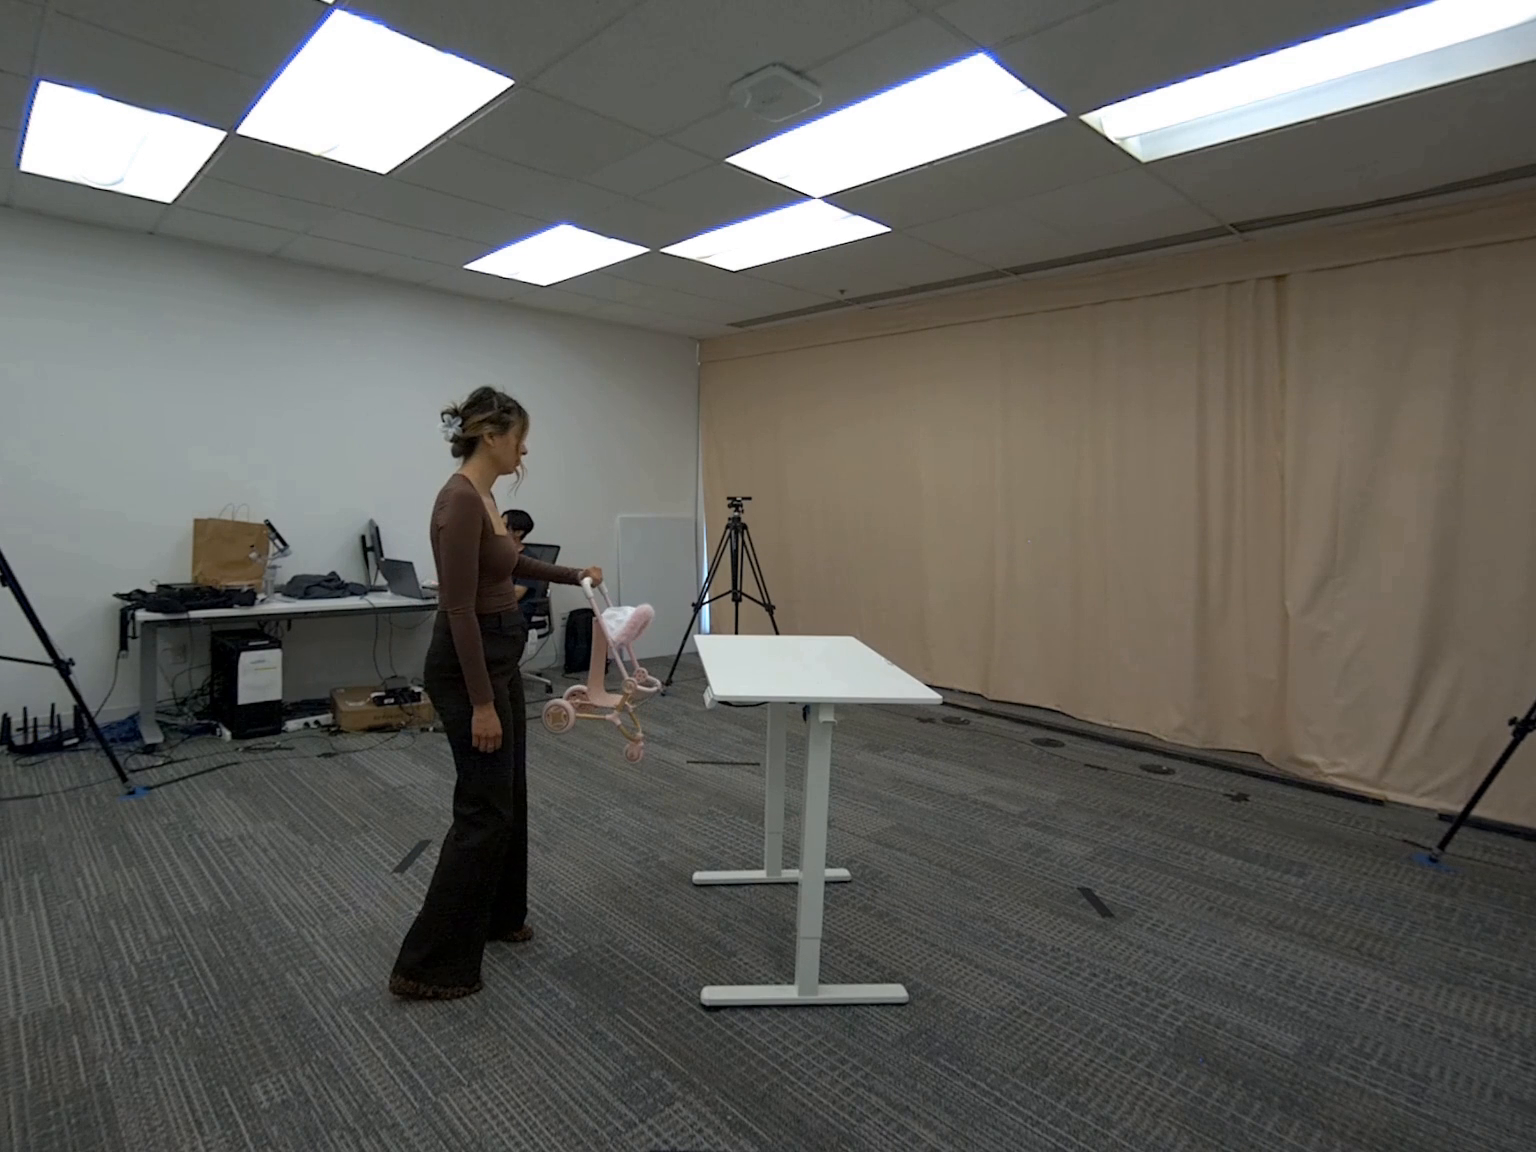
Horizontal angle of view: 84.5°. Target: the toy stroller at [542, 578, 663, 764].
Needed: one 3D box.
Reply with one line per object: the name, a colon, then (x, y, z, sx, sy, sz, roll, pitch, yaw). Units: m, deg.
toy stroller: (-0.491, 0.307, 2.687, 0.344, 0.535, 0.279, 16, 1, 7)
